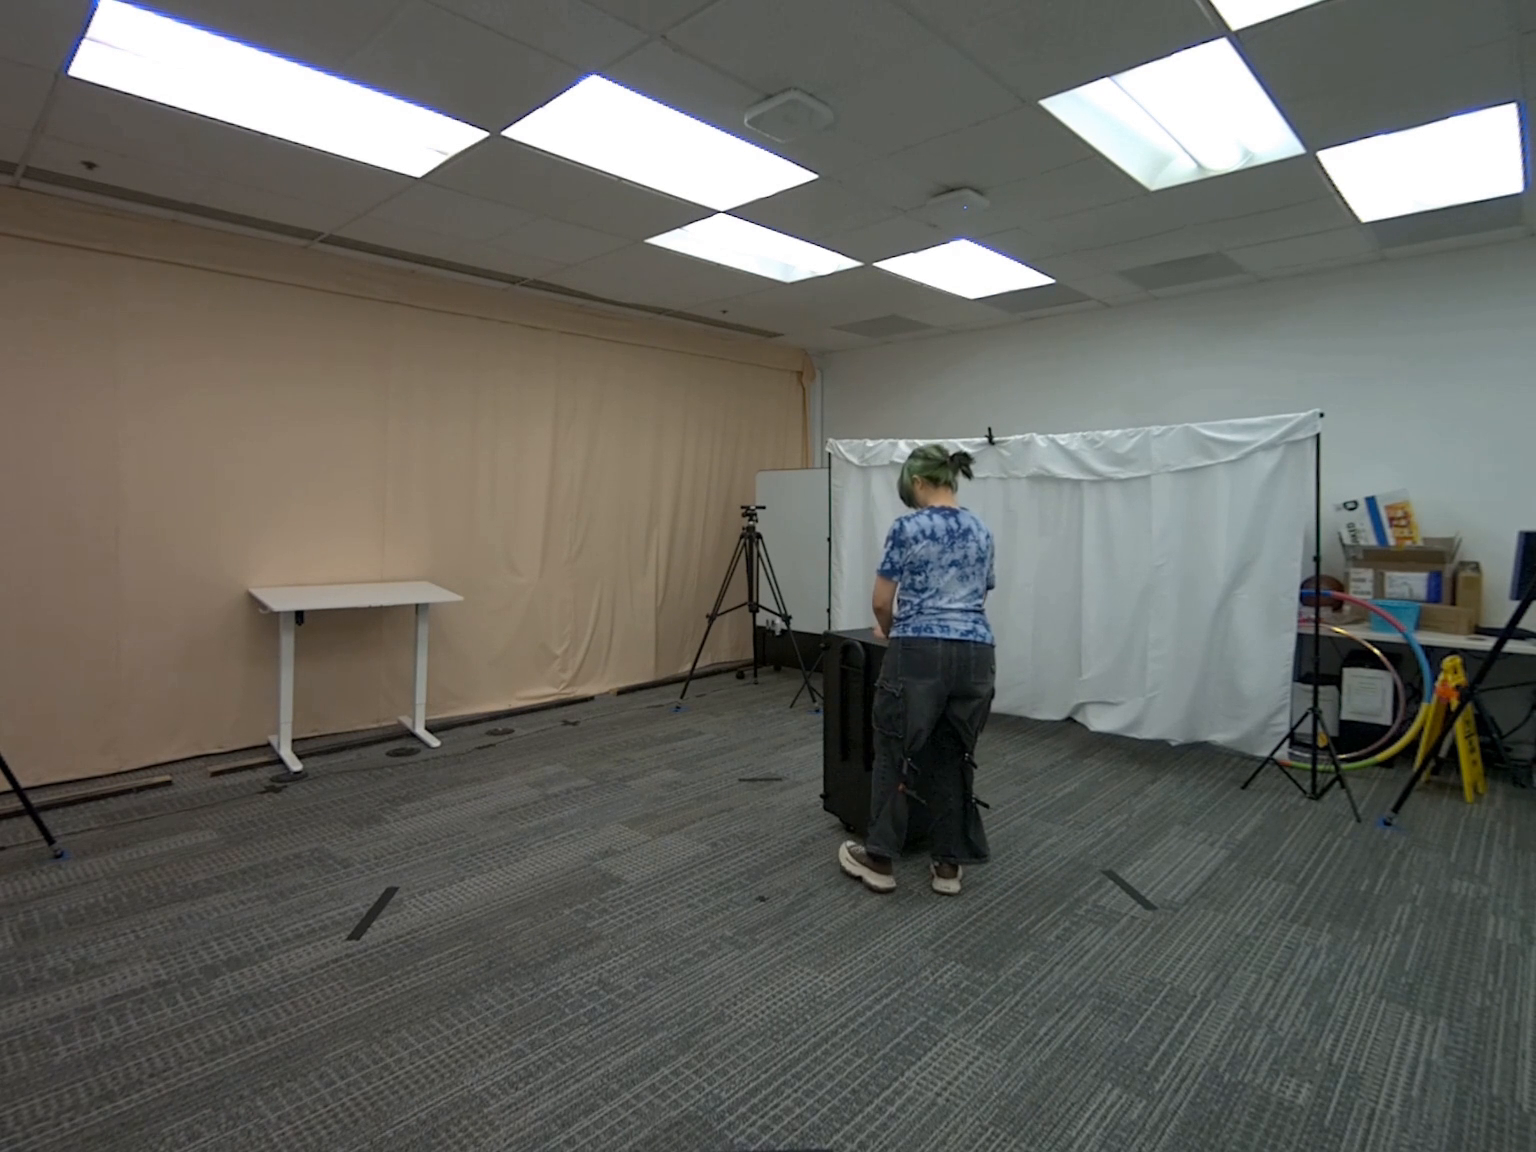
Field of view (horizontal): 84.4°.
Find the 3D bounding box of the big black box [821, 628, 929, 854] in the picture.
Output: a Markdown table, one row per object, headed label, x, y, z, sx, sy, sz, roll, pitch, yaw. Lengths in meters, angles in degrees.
| label | x | y | z | sx | sy | sz | roll | pitch | yaw |
| --- | --- | --- | --- | --- | --- | --- | --- | --- | --- |
| big black box | 0.509 | 0.676 | 3.515 | 0.386 | 0.859 | 0.536 | -3 | 4 | -28 |
